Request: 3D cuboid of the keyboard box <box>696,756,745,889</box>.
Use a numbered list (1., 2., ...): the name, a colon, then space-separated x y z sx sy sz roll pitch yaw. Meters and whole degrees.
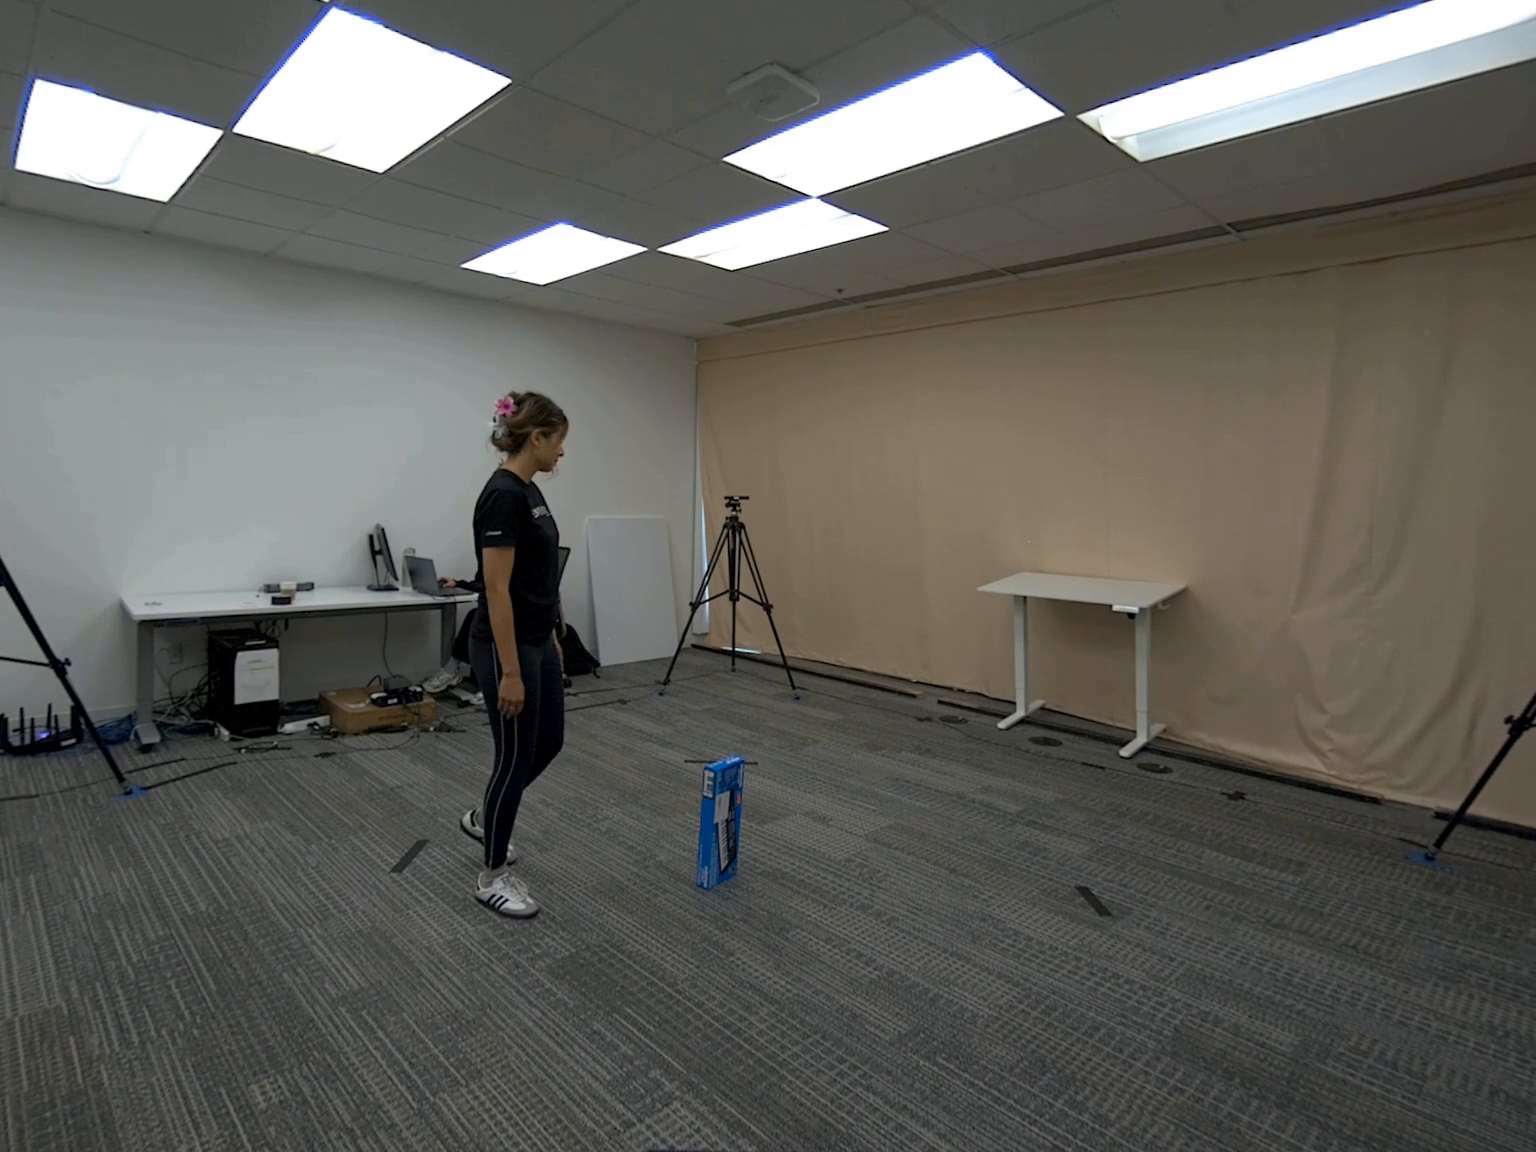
1. keyboard box: -0.177 0.890 3.044 0.060 0.435 0.172 7 6 33
